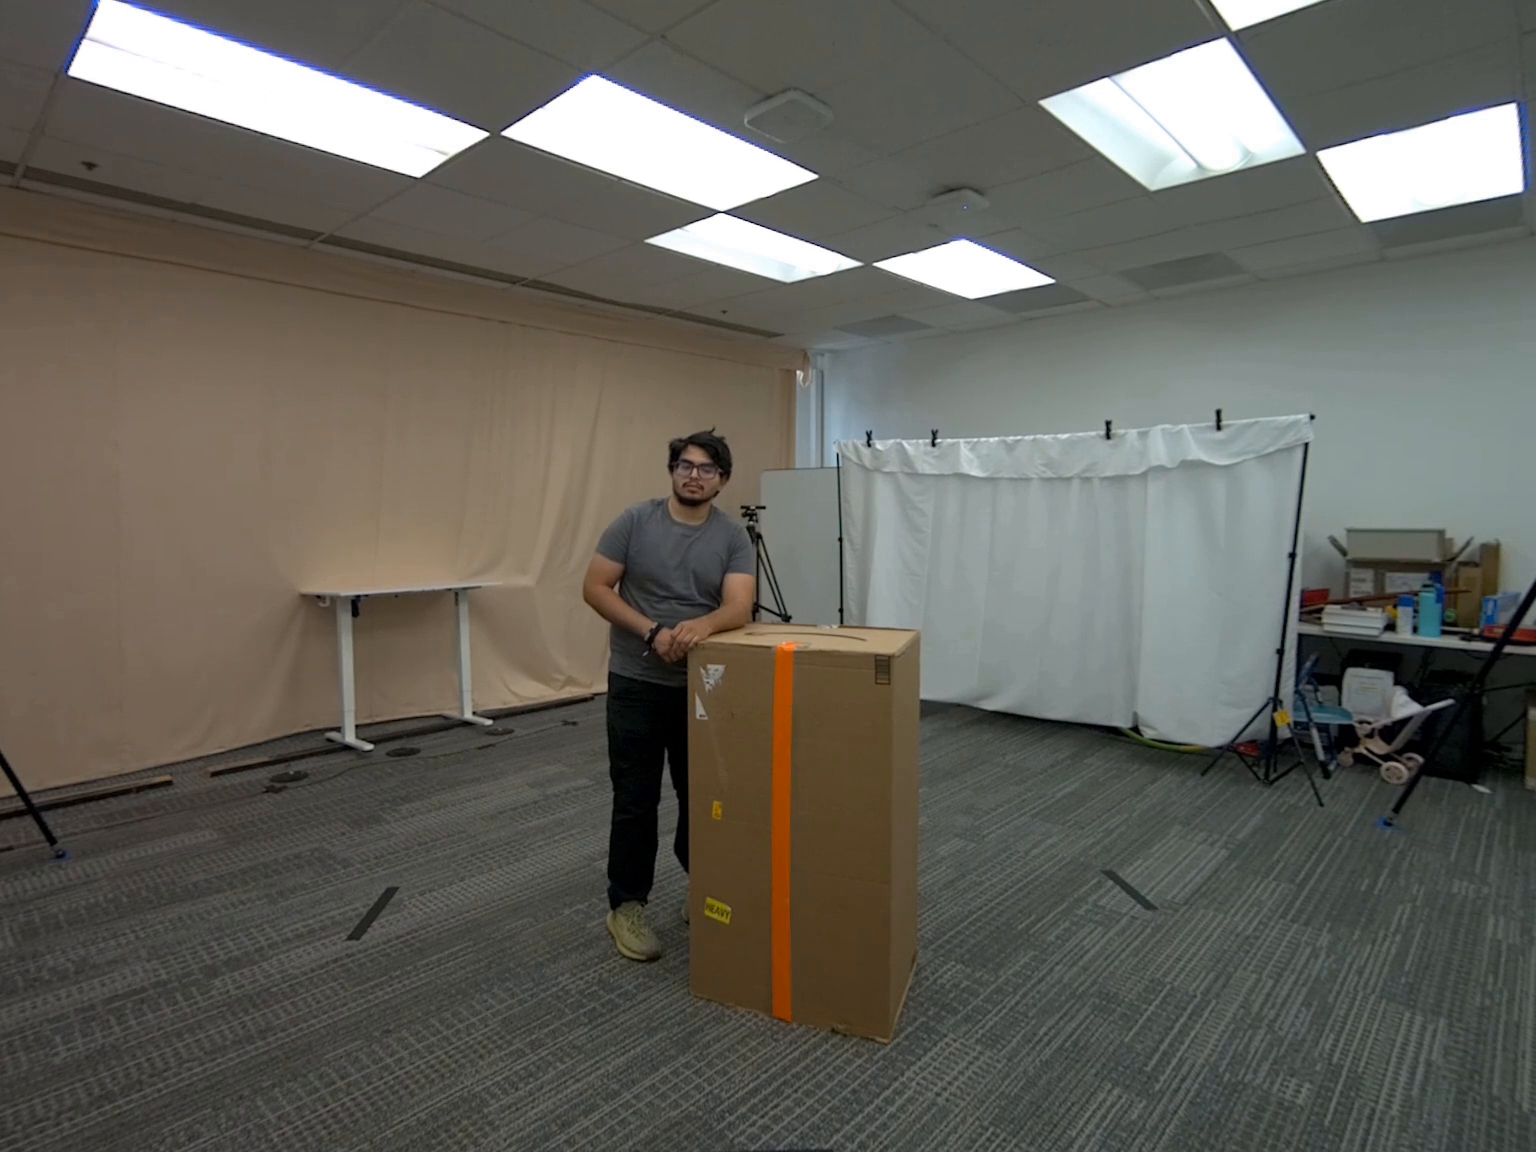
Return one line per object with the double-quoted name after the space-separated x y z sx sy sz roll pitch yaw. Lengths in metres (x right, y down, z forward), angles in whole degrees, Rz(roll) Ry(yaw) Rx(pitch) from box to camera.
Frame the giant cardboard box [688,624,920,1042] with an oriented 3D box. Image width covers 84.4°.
0.124 0.681 2.441 0.591 1.023 0.417 2 4 23 "giant cardboard box"
